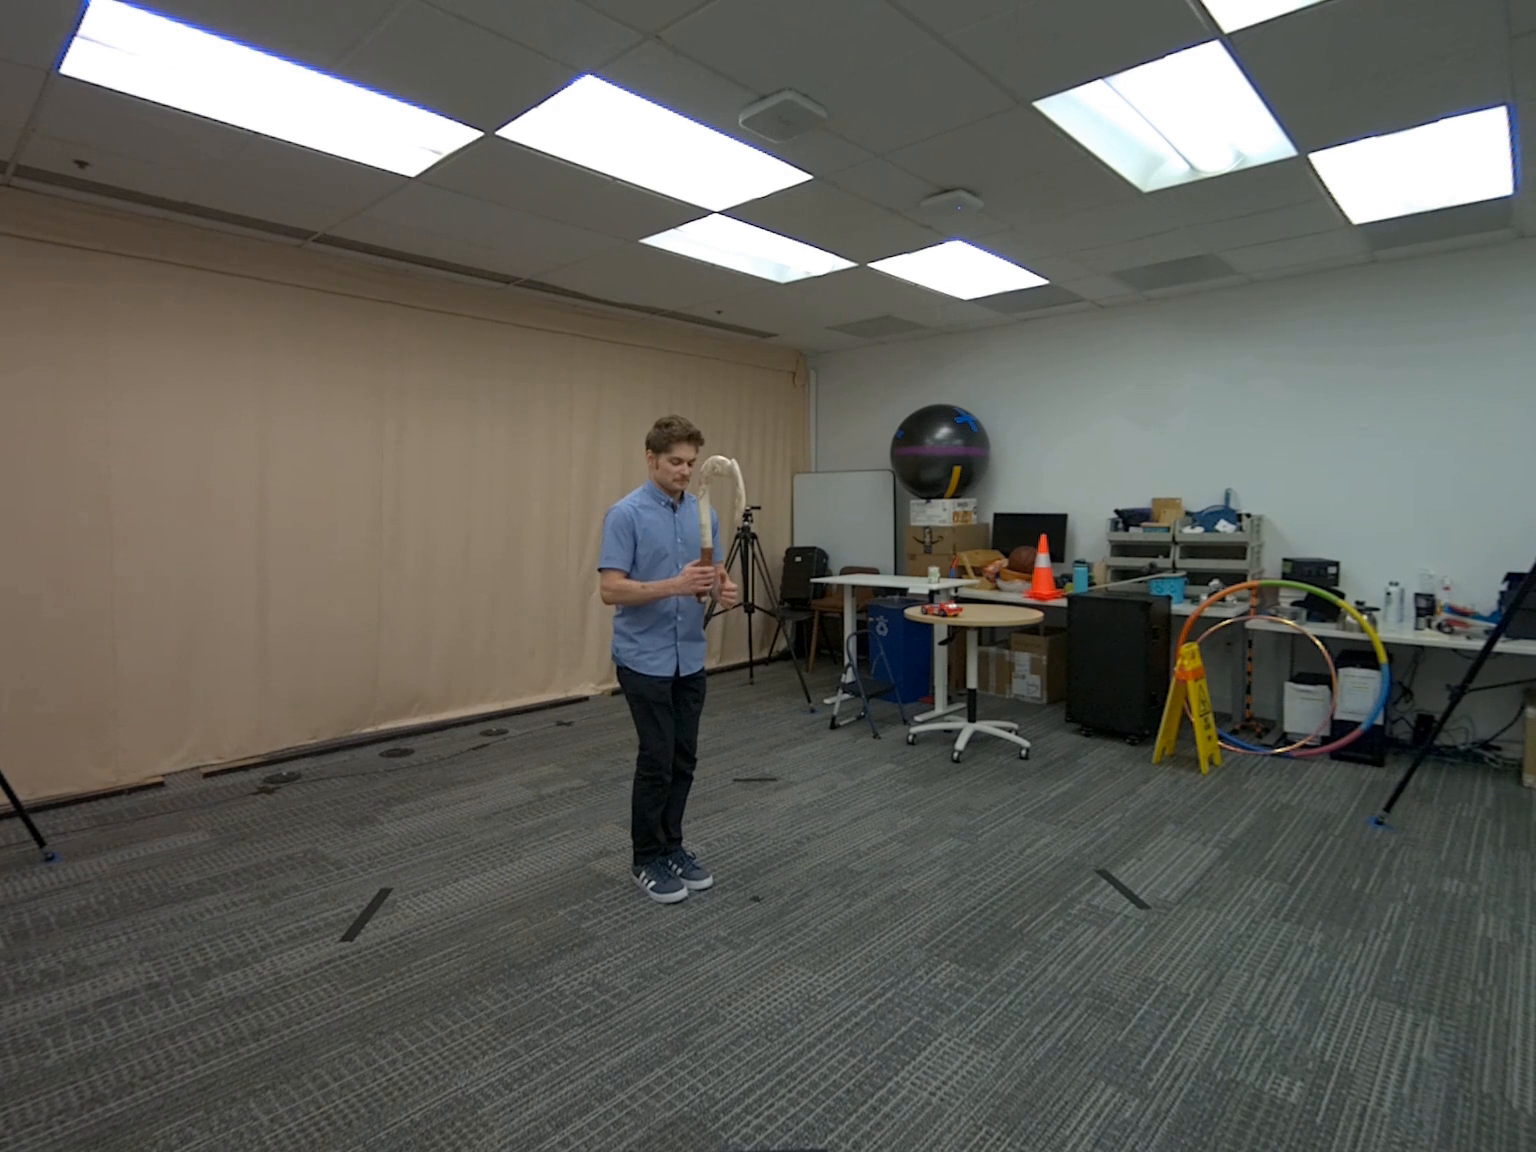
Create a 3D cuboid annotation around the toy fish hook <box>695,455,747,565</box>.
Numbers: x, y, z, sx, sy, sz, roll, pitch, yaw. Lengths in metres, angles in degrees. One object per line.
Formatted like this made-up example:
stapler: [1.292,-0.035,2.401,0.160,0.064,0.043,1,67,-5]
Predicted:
toy fish hook: [-0.167,-0.135,2.755,0.047,0.503,0.233,-6,20,-40]
